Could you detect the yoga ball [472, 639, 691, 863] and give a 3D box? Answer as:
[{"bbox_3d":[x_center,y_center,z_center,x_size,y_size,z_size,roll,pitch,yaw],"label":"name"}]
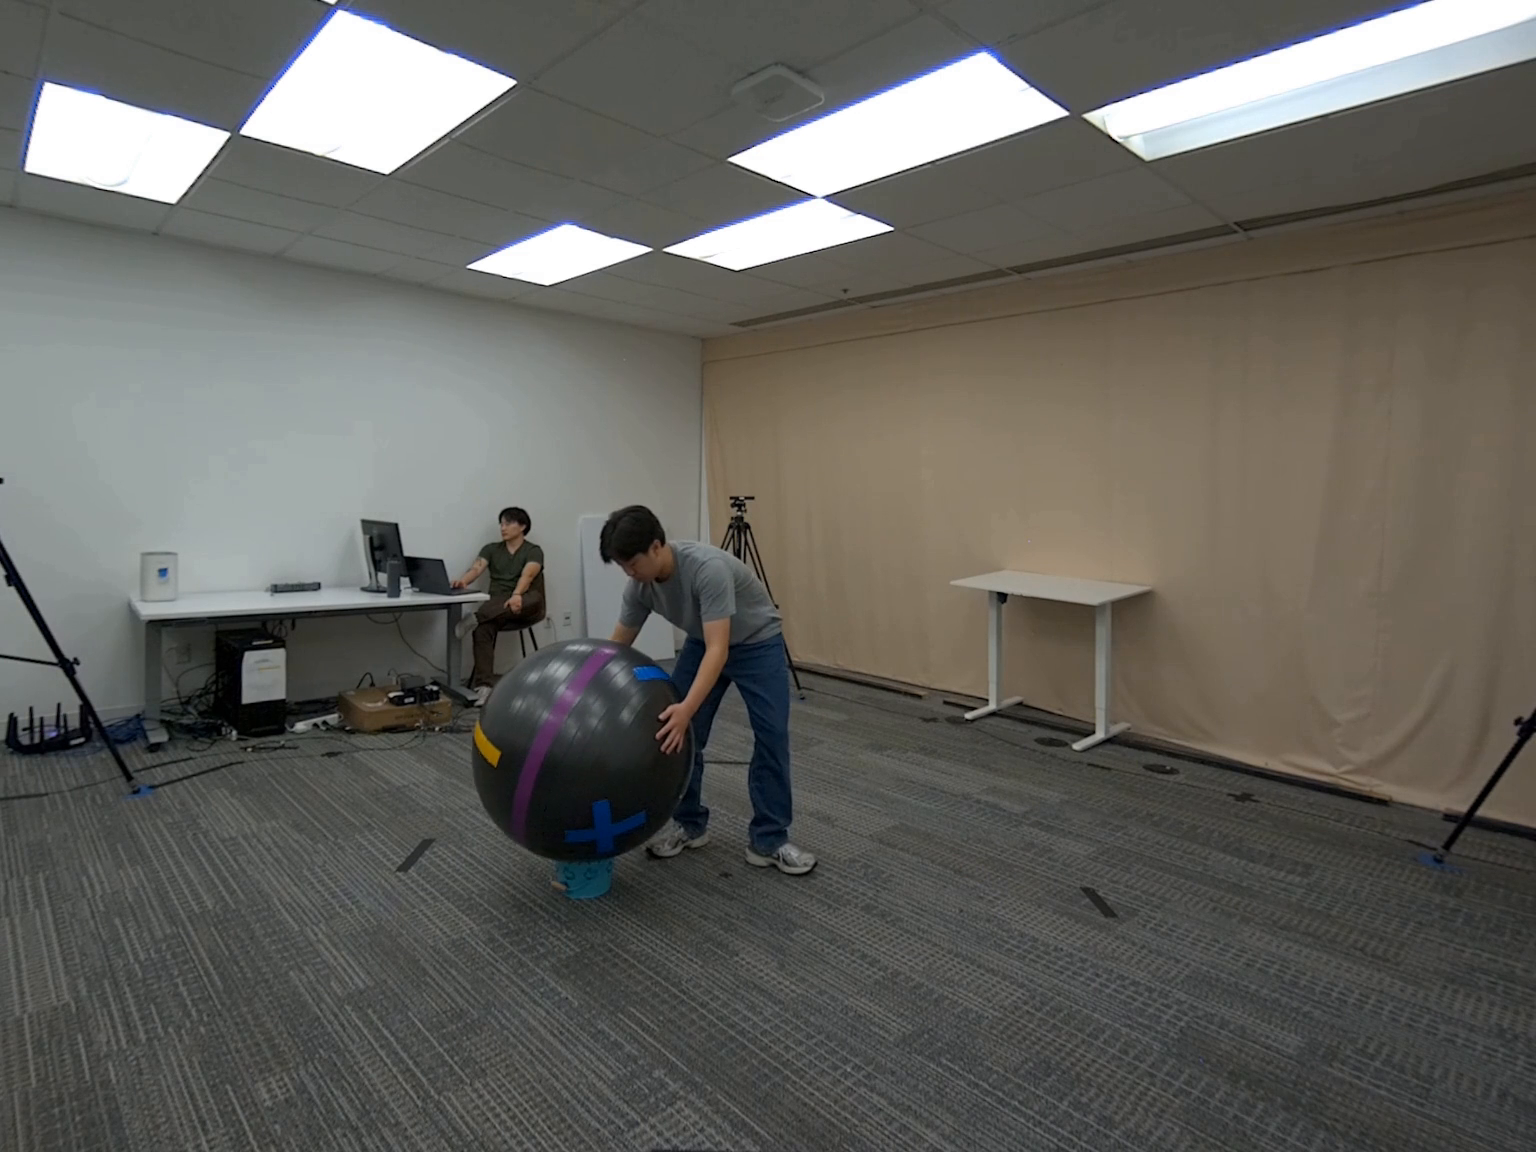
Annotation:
[{"bbox_3d":[-0.643,0.595,2.922,0.757,0.756,0.761,1,4,-1],"label":"yoga ball"}]
